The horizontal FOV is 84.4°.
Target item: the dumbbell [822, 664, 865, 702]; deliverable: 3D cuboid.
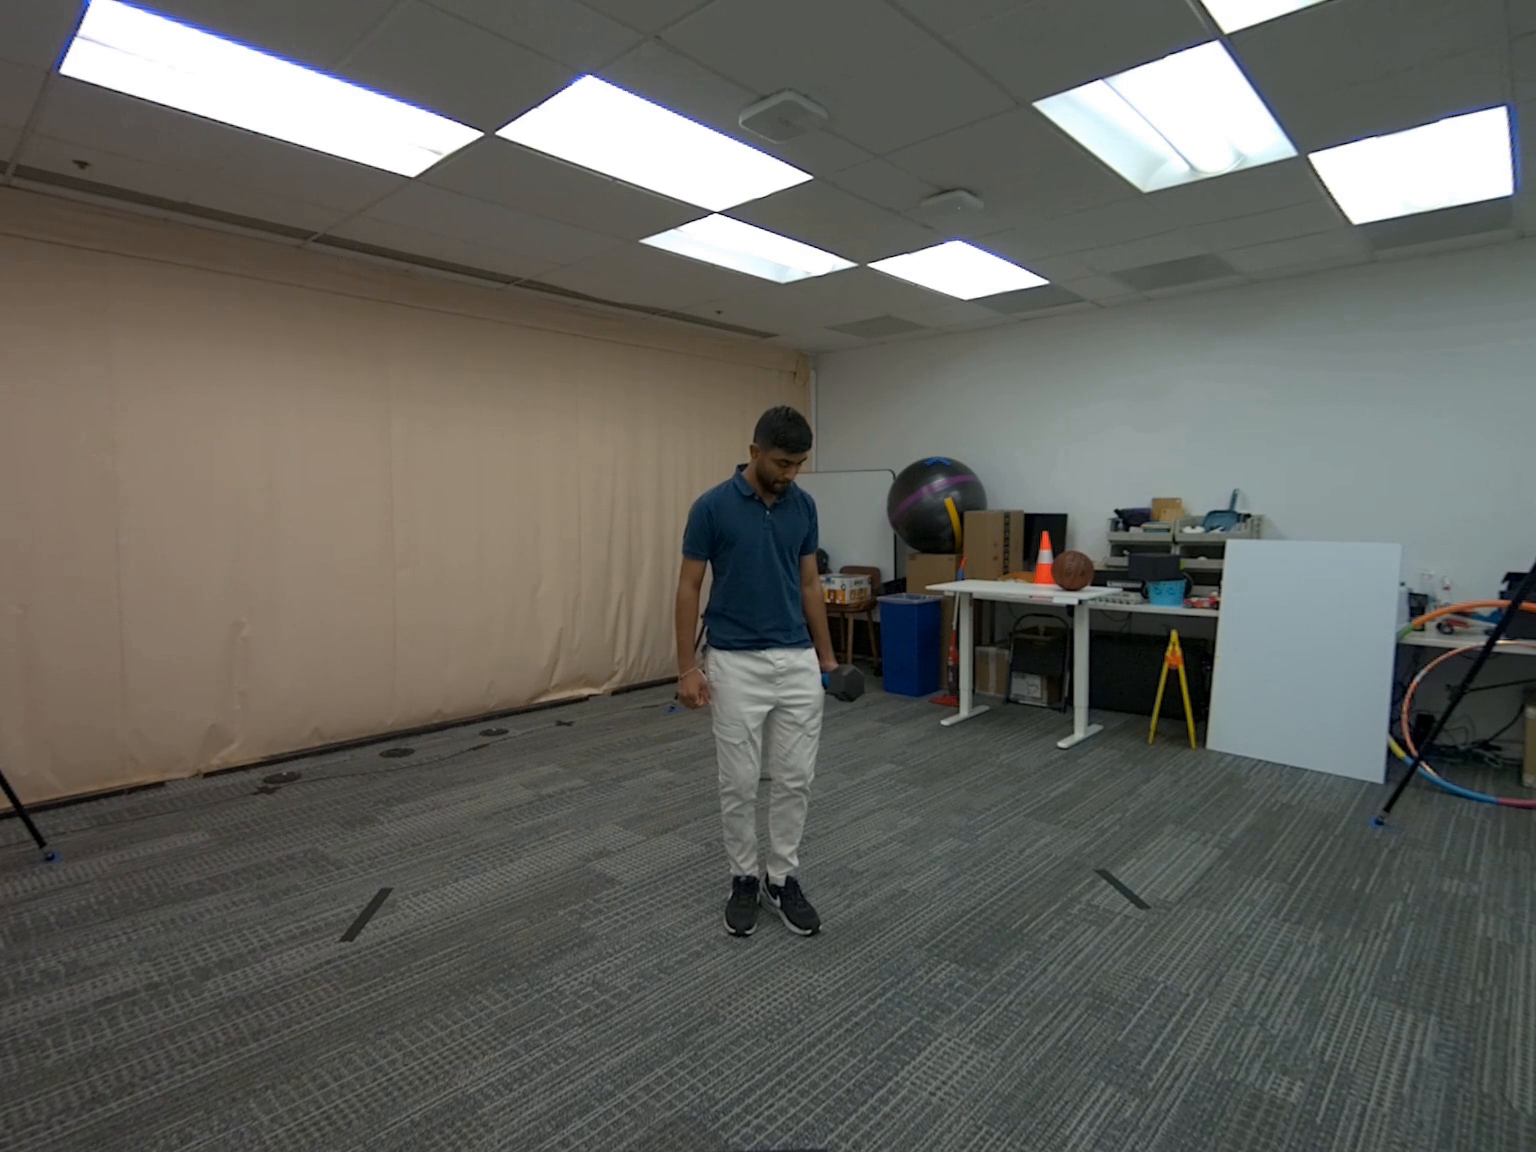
[{"bbox_3d":[0.200,0.360,2.864,0.105,0.123,0.302,6,-7,-35],"label":"dumbbell"}]
